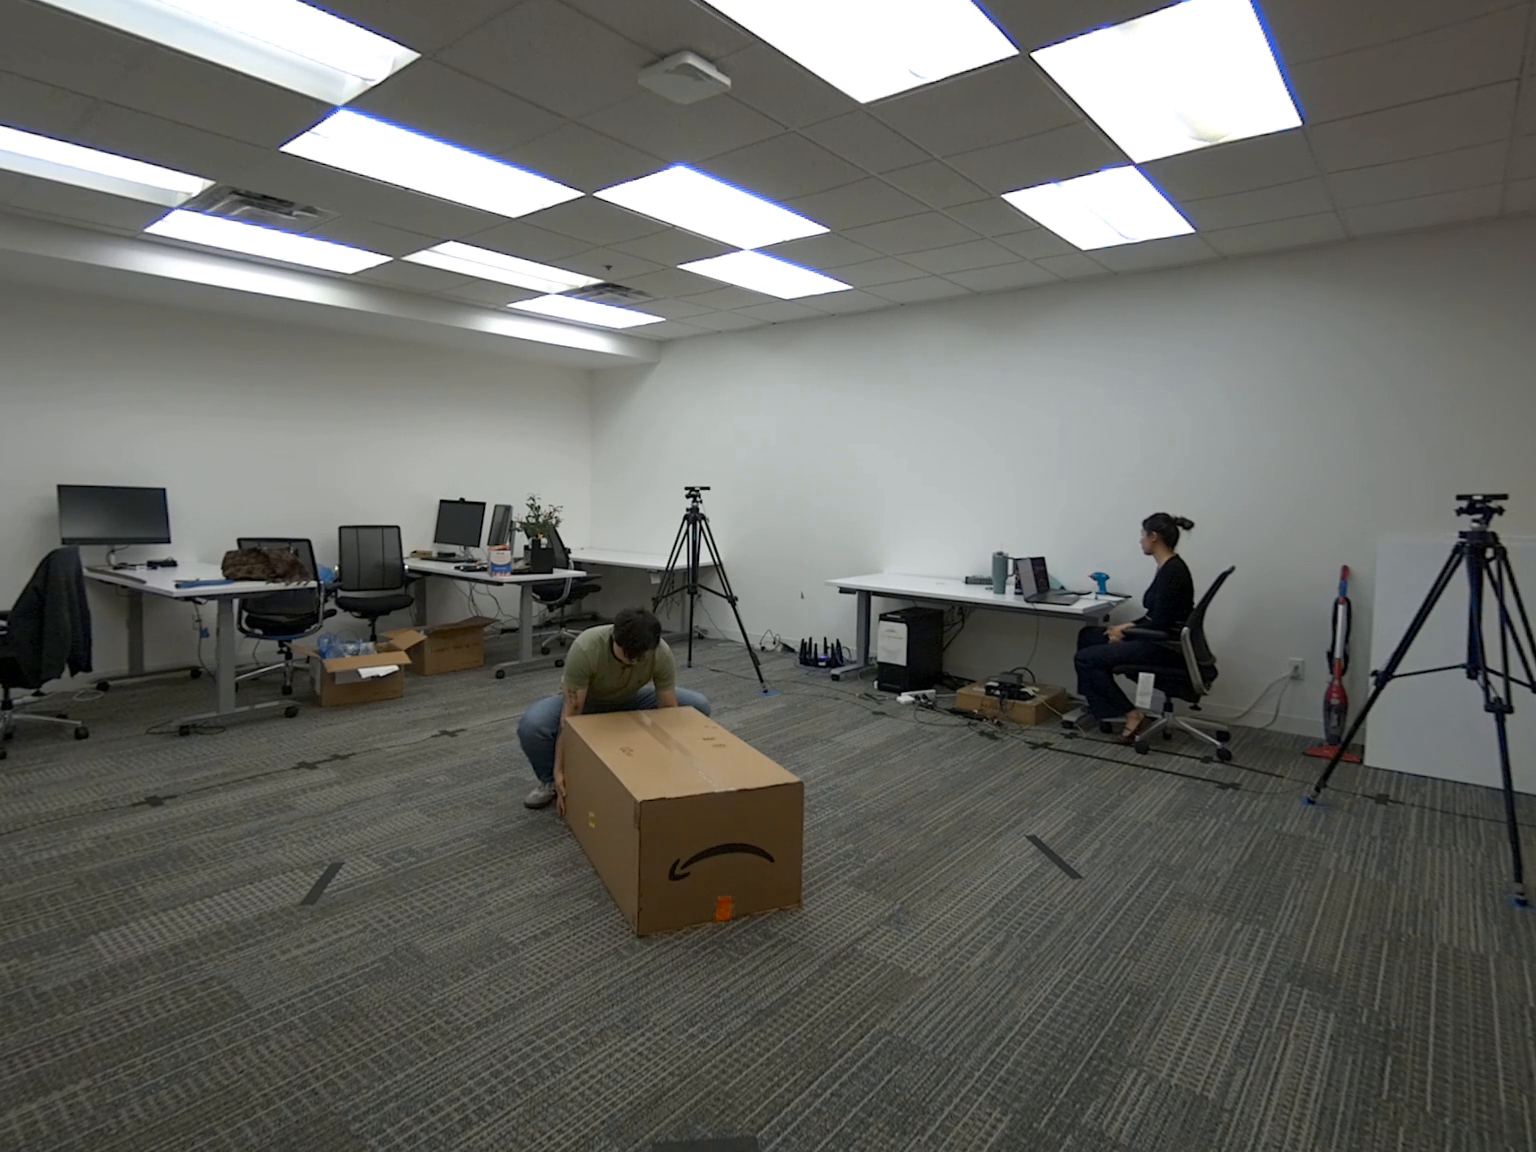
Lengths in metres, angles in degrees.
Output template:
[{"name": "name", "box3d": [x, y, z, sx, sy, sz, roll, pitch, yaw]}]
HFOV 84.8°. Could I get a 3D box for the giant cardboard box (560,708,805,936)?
[{"name": "giant cardboard box", "box3d": [-0.376, 0.837, 3.173, 0.564, 0.424, 1.055, -1, 6, -26]}]
